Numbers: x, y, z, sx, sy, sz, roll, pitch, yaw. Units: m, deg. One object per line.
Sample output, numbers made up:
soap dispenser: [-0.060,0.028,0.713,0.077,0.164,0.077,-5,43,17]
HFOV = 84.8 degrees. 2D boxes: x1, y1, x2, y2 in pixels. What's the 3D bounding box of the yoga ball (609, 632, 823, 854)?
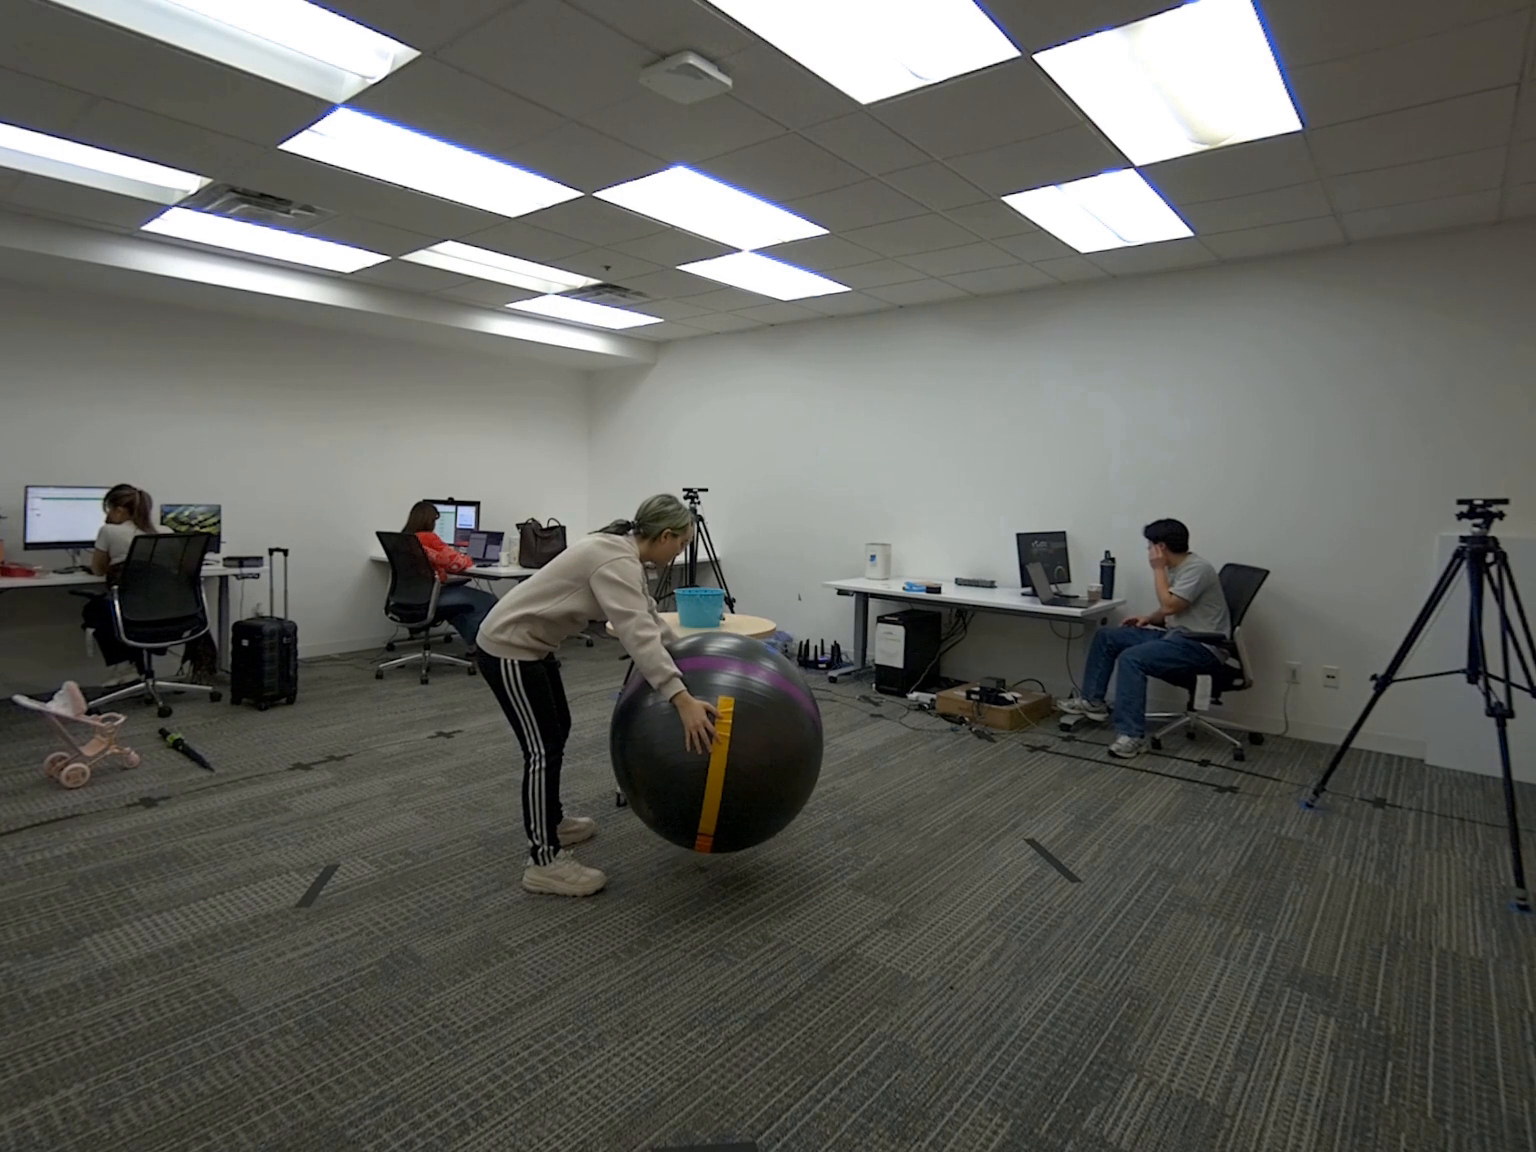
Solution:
yoga ball: [-0.178,0.580,3.007,0.757,0.756,0.761,1,4,-2]
